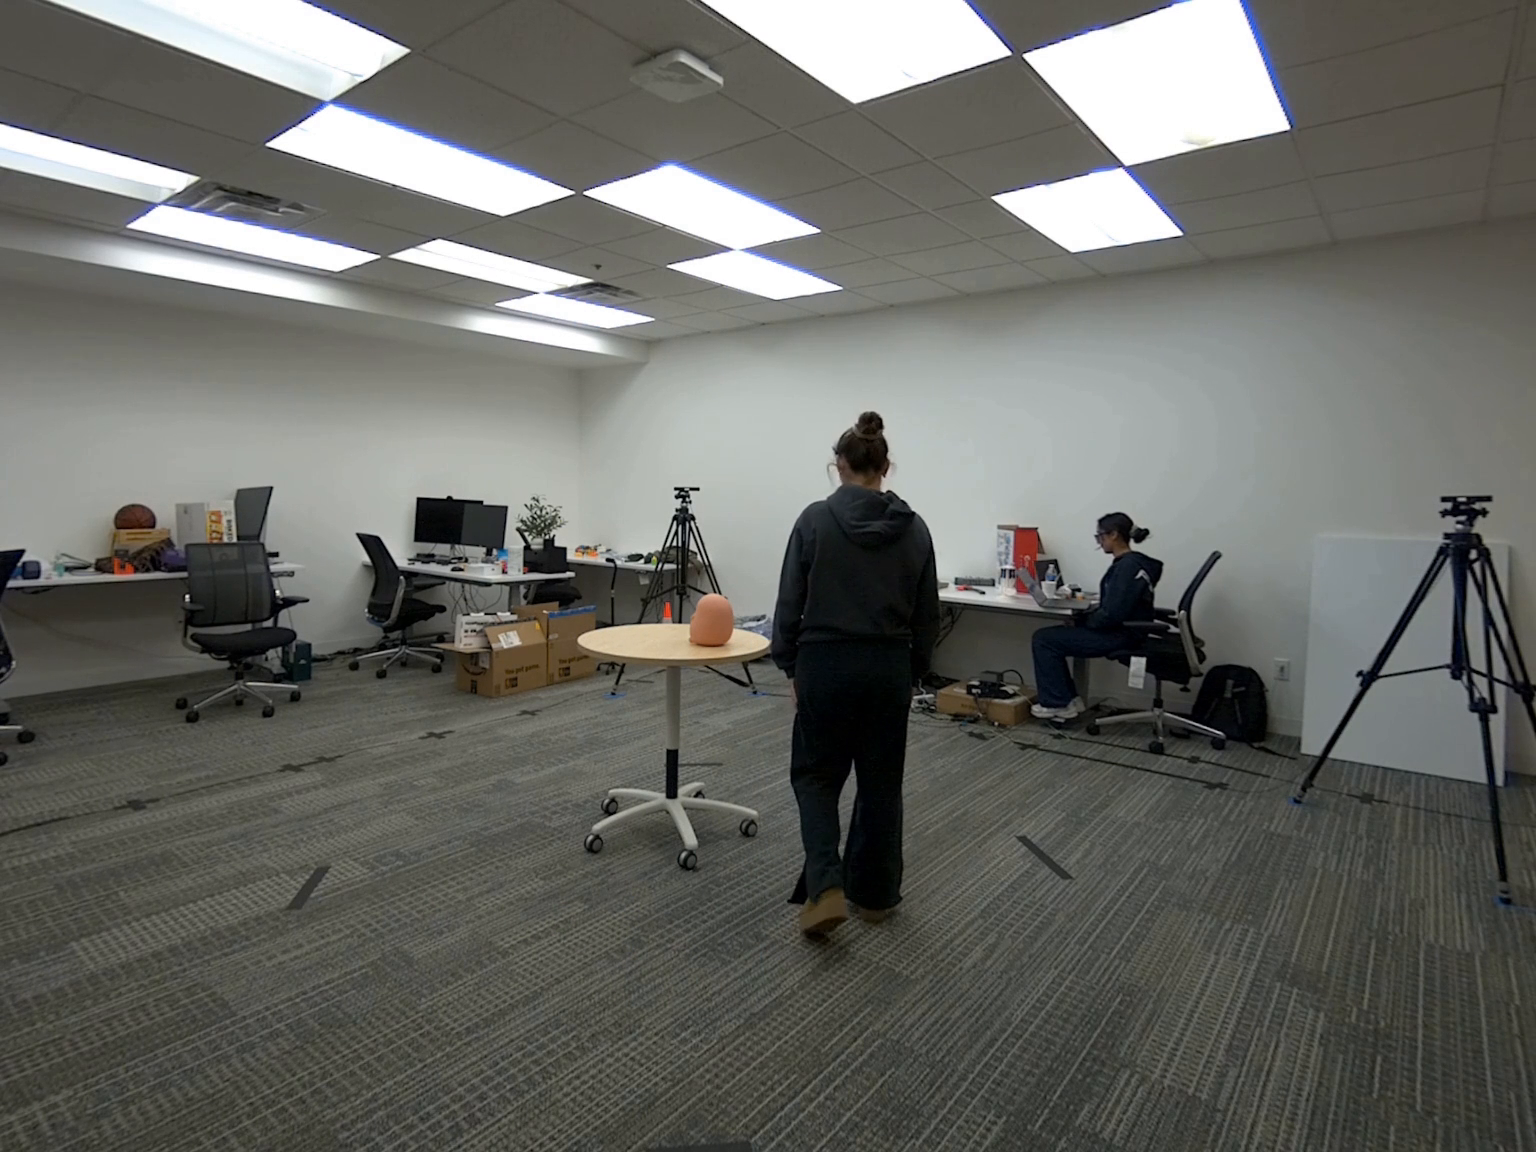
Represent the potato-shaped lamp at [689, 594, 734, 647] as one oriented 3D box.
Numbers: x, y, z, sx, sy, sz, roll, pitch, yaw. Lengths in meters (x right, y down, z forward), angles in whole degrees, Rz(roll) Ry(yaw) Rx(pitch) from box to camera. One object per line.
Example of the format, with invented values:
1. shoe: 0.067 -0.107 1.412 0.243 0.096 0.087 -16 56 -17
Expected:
1. potato-shaped lamp: -0.225 0.165 3.319 0.177 0.197 0.160 6 7 37
